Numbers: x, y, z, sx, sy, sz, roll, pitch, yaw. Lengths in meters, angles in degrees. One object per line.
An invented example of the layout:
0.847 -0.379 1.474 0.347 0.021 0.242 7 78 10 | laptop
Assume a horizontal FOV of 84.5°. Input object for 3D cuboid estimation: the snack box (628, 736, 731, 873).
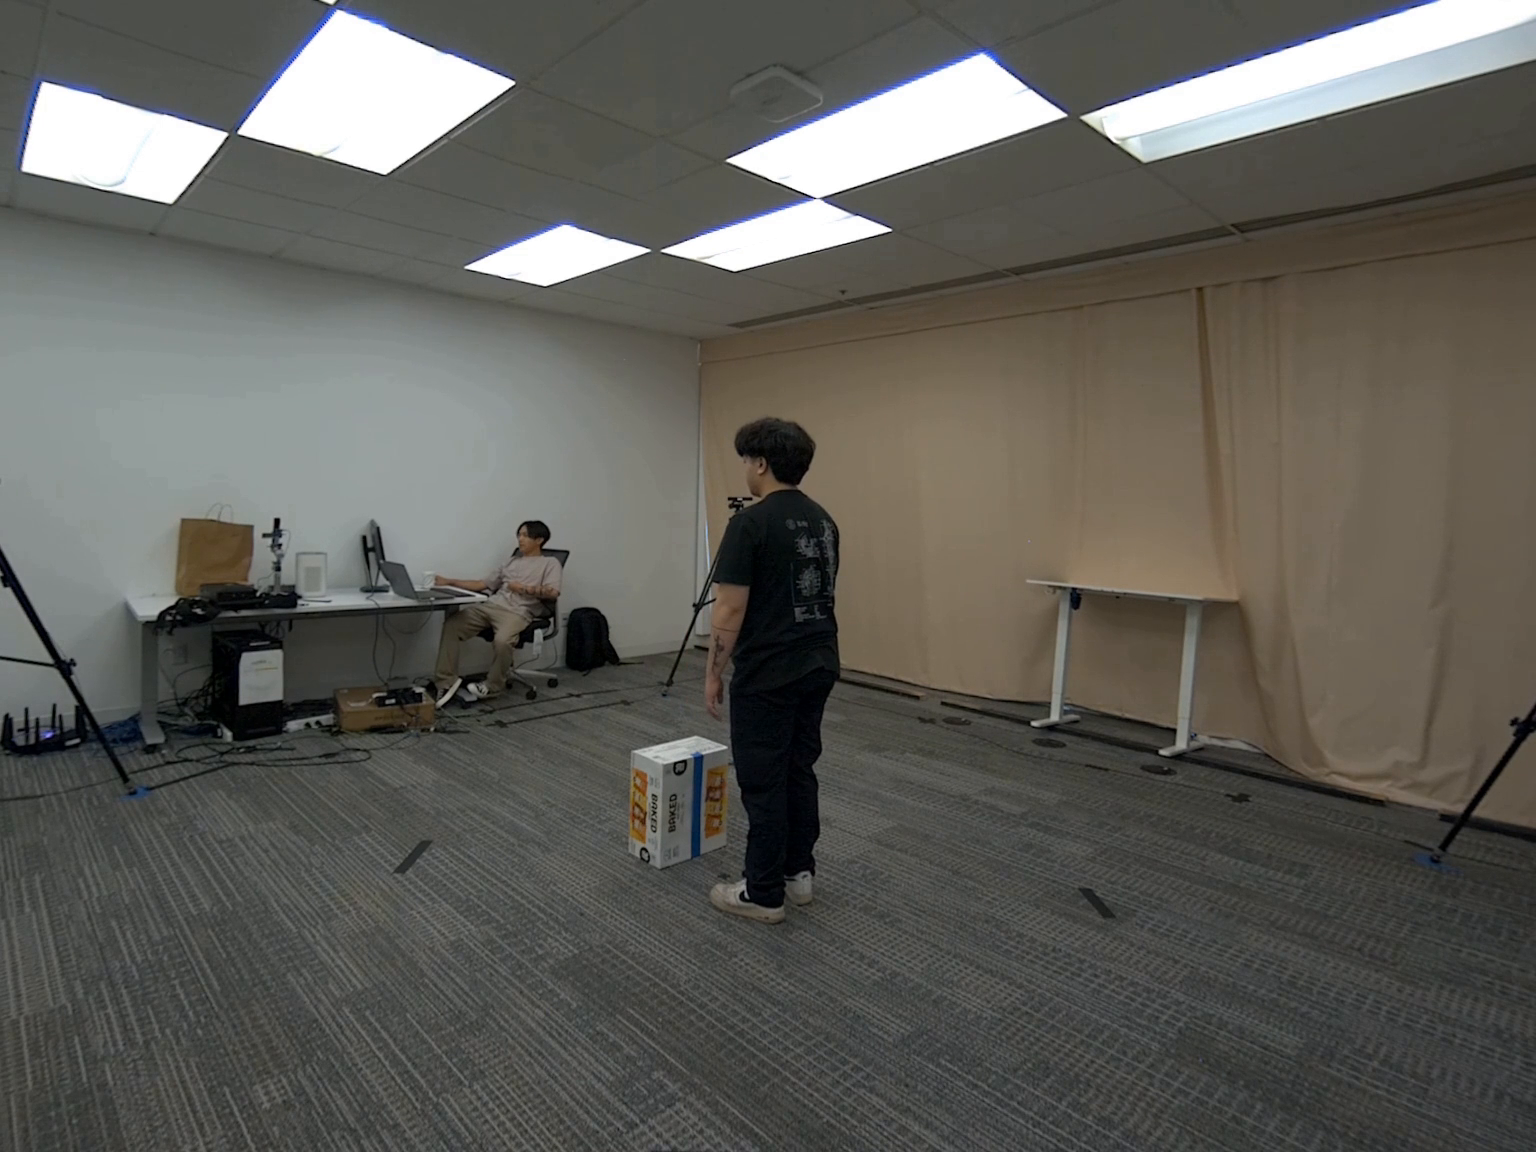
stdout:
-0.347 0.880 3.315 0.332 0.404 0.211 -3 5 -45 | snack box
